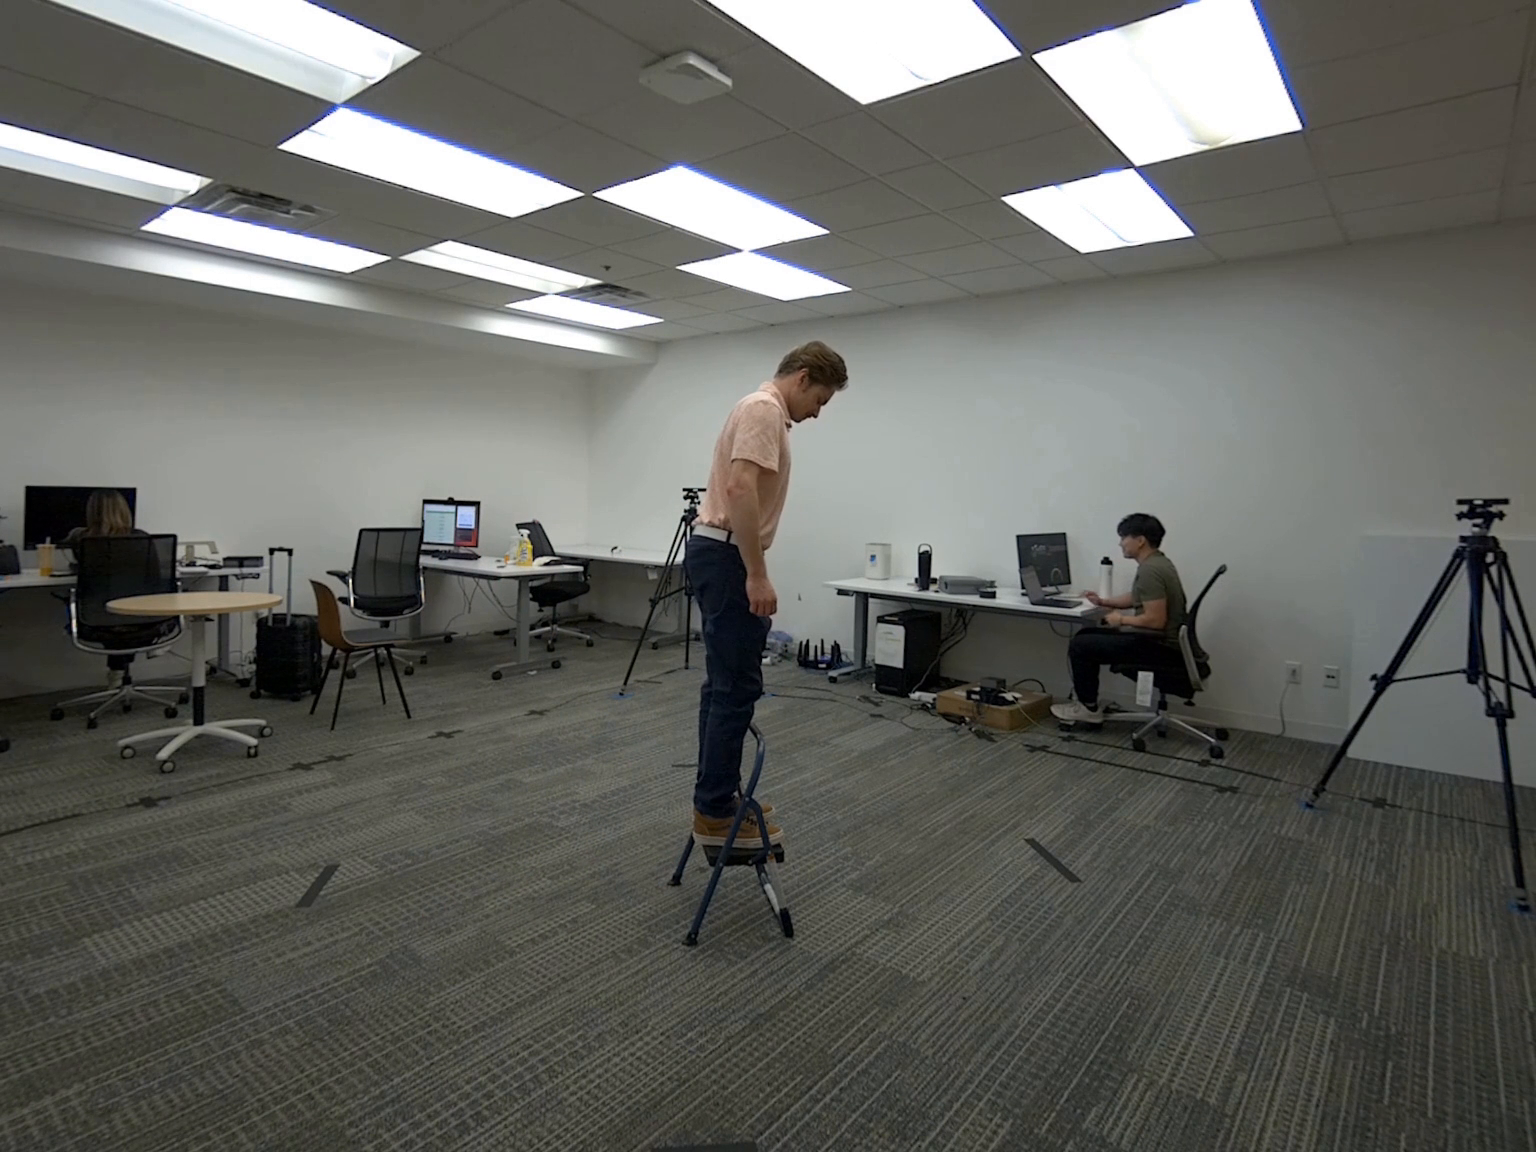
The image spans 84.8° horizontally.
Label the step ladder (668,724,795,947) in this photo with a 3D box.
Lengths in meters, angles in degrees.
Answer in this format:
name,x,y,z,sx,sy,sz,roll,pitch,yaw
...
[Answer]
name,x,y,z,sx,sy,sz,roll,pitch,yaw
step ladder,-0.127,0.800,2.803,0.345,0.604,0.437,0,4,-13
